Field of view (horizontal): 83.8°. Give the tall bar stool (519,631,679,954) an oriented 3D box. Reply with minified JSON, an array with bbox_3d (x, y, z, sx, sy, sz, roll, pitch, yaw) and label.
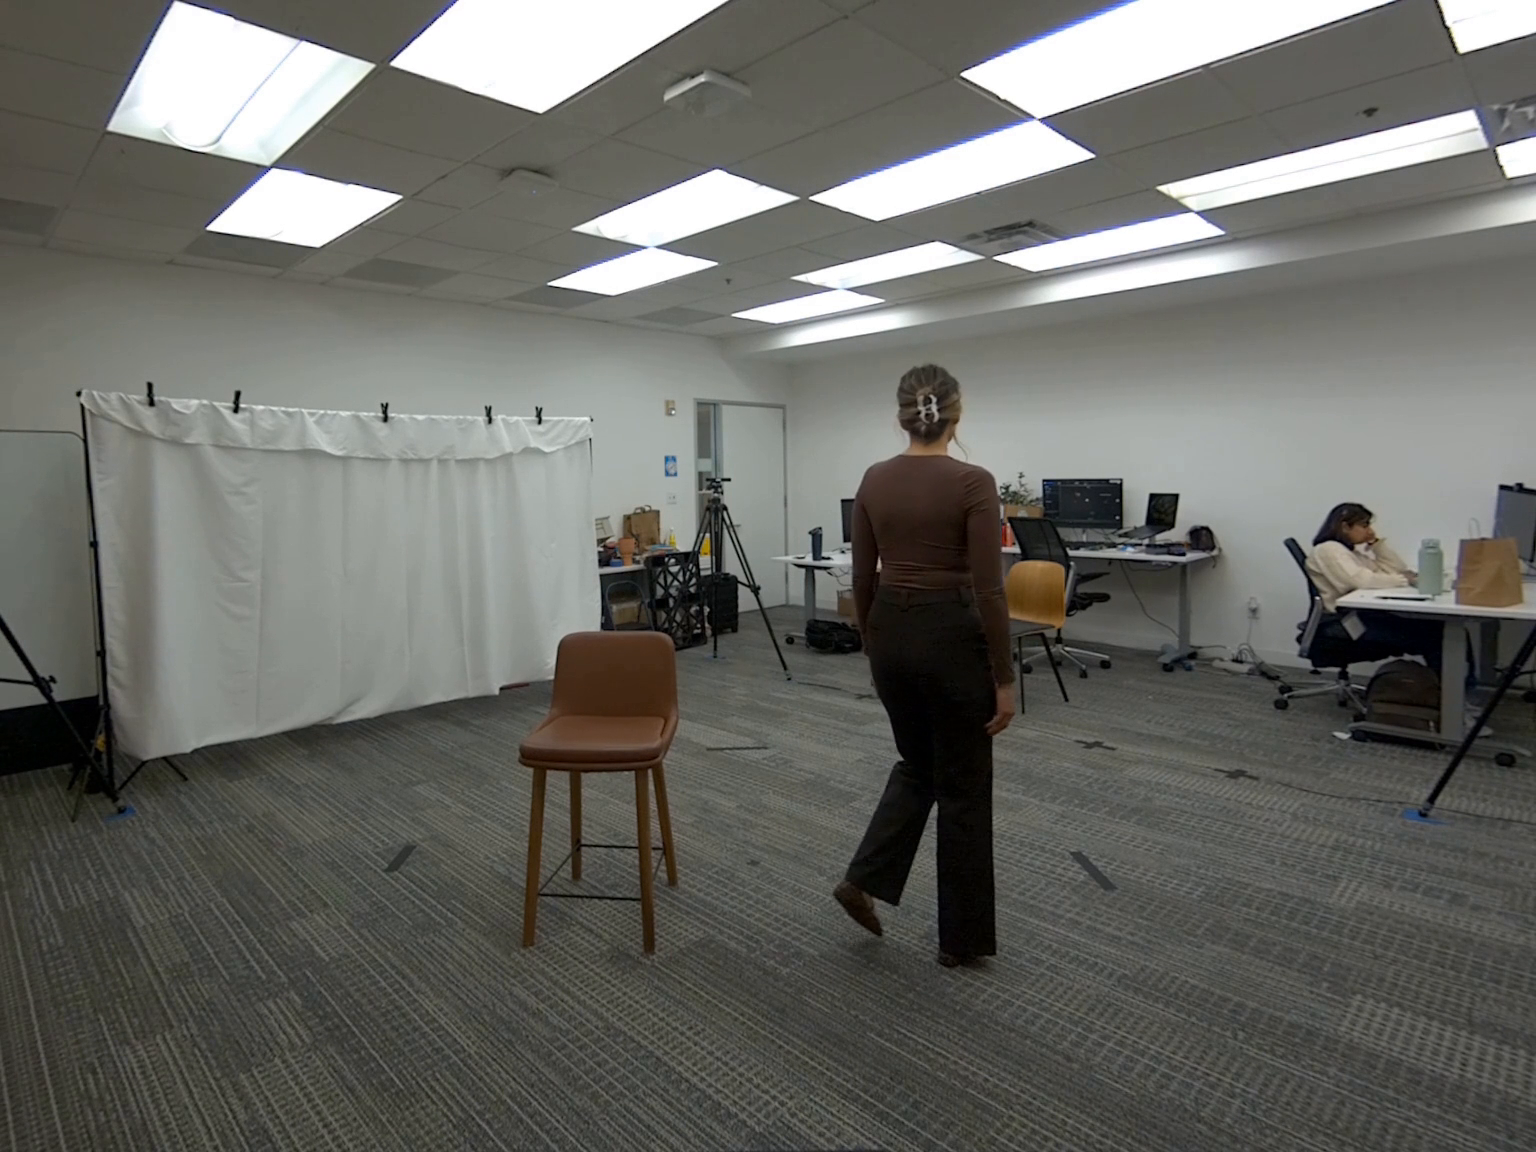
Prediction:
[{"bbox_3d":[-0.528,0.660,2.746,0.460,0.887,0.465,0,4,8],"label":"tall bar stool"}]
